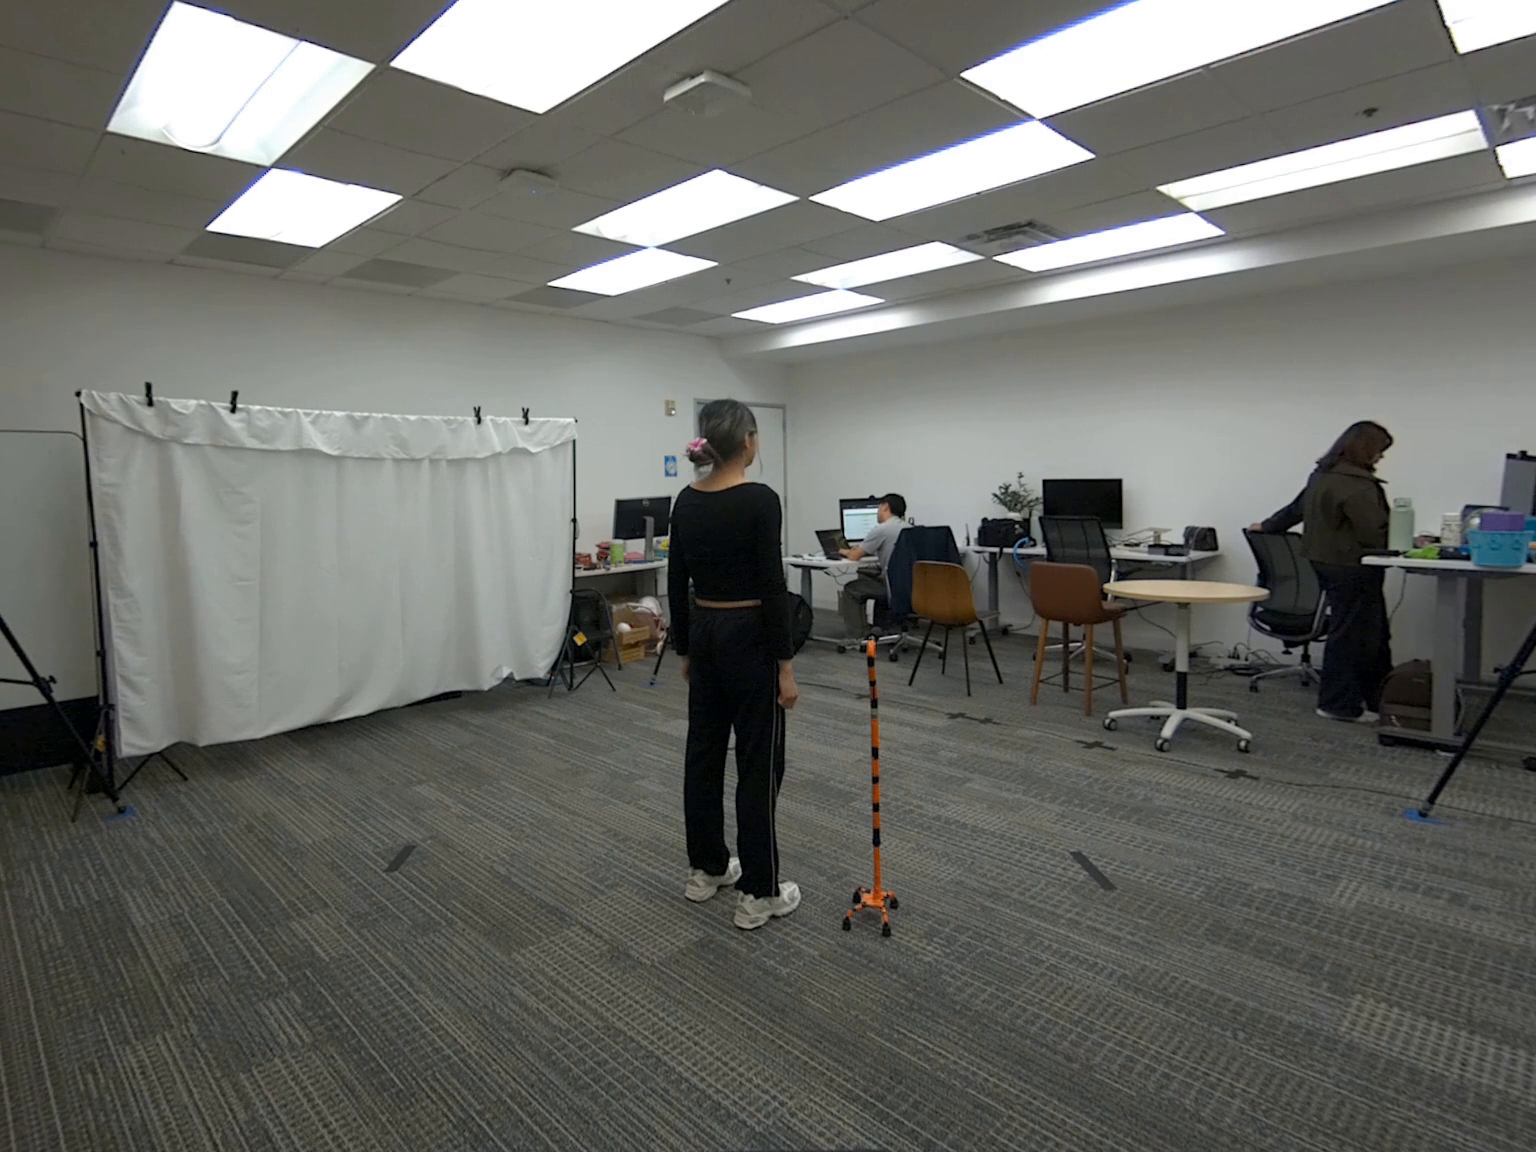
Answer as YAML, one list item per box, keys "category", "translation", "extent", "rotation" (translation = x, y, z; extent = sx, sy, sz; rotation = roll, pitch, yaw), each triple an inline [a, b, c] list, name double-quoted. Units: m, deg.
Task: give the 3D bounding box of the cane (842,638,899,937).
- category: "cane"
  translation: [0.322, 0.629, 2.672]
  extent: [0.154, 0.905, 0.204]
  rotation: [0, 4, 16]
